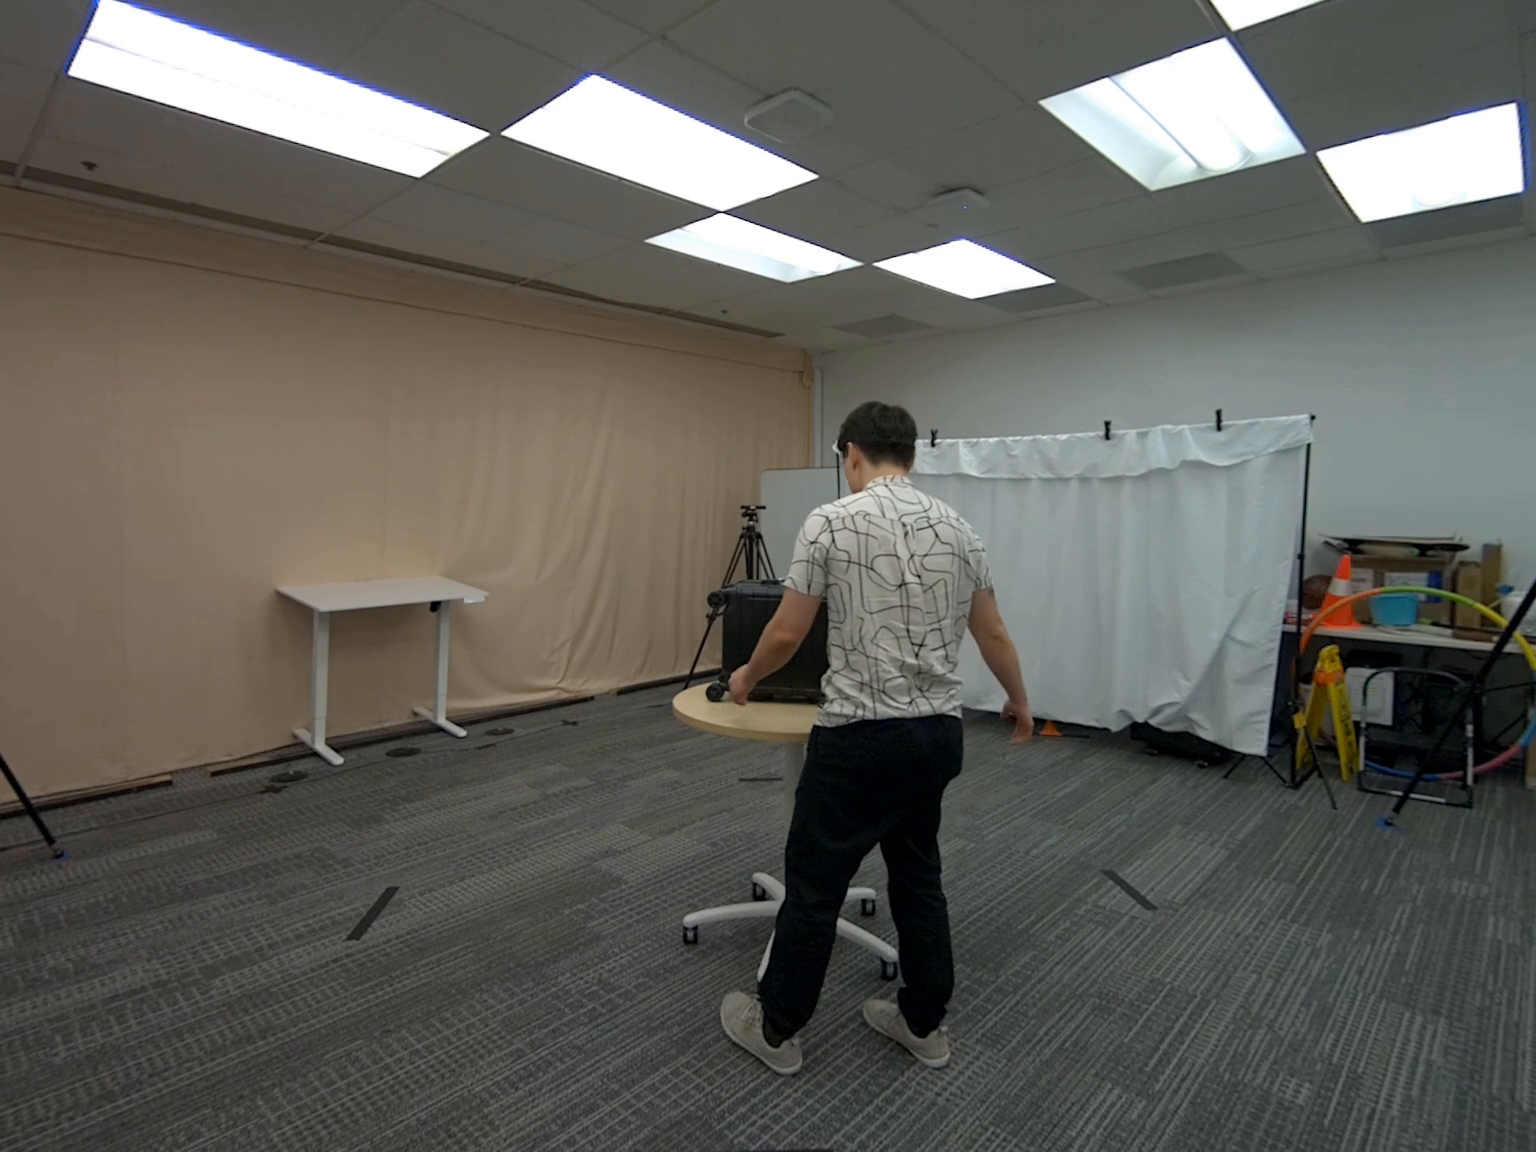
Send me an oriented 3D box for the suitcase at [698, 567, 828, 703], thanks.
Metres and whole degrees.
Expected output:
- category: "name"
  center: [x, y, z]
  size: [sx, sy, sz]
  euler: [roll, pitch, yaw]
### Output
- category: "suitcase"
  center: [0.102, 0.197, 2.666]
  size: [0.556, 0.375, 0.245]
  euler: [1, 2, 11]
